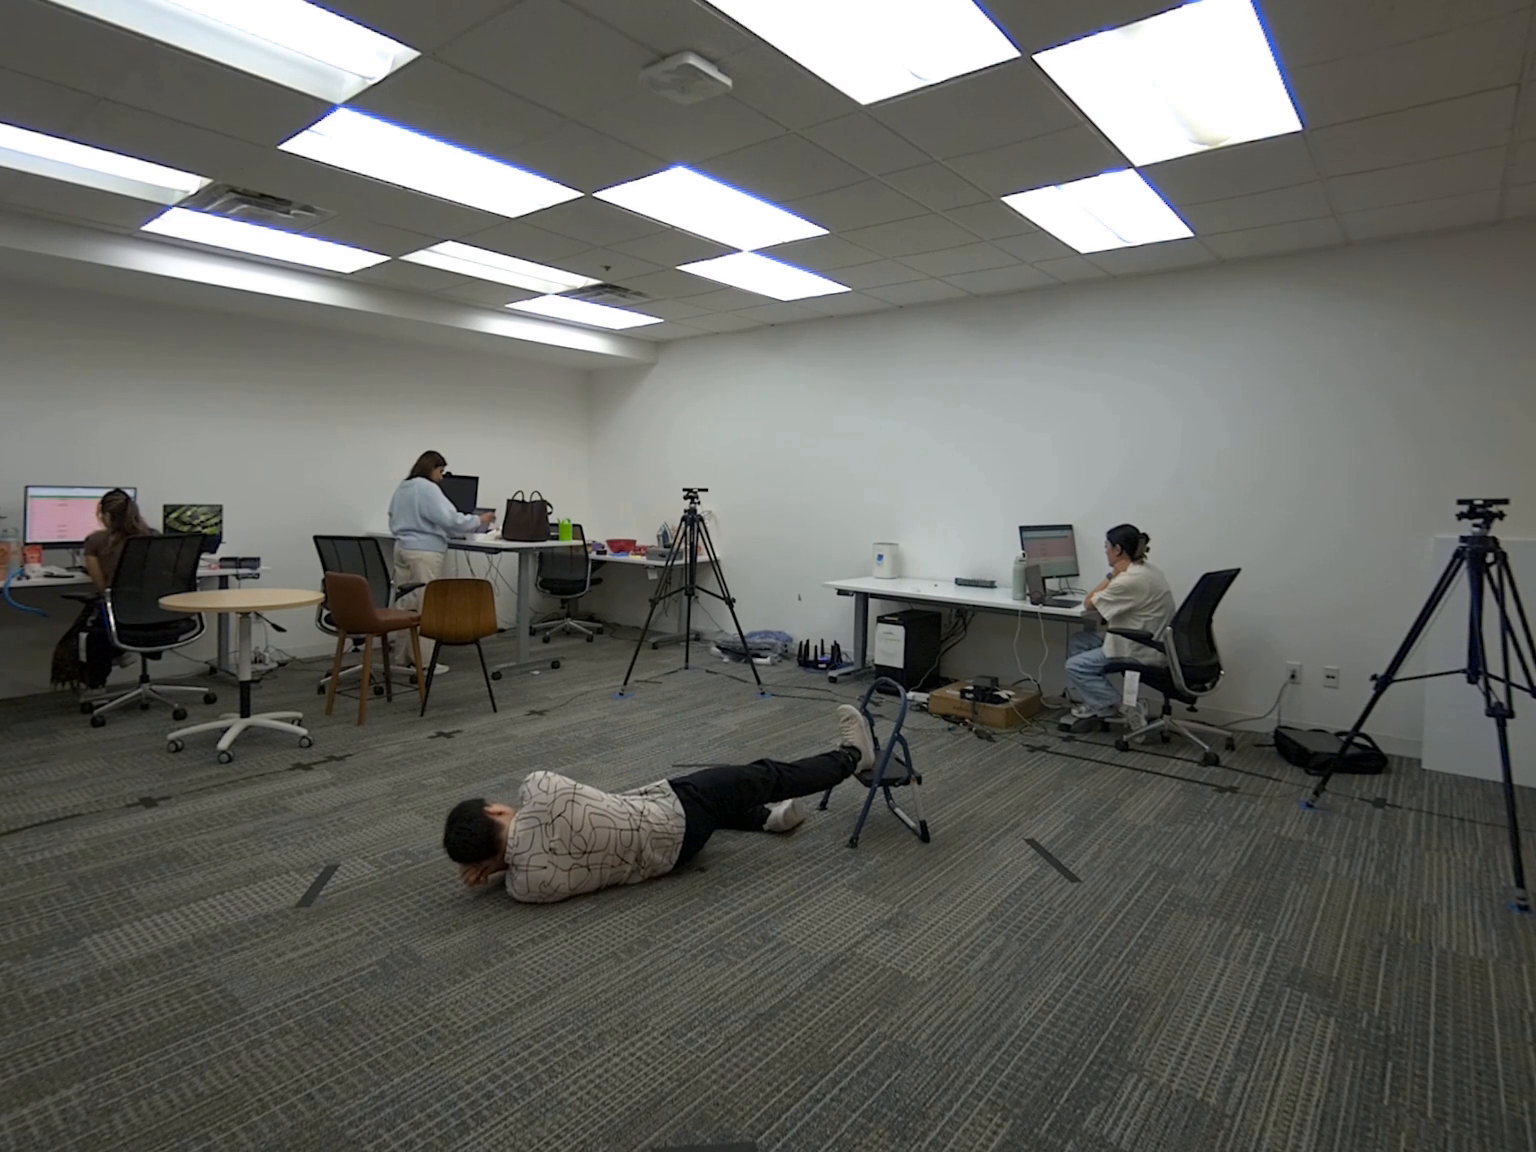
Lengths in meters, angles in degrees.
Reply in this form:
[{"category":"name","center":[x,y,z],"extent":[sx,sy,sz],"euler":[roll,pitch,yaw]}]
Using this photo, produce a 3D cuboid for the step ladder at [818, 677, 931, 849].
[{"category":"step ladder","center":[0.439,0.742,3.552],"extent":[0.345,0.604,0.438],"euler":[0,4,-13]}]
